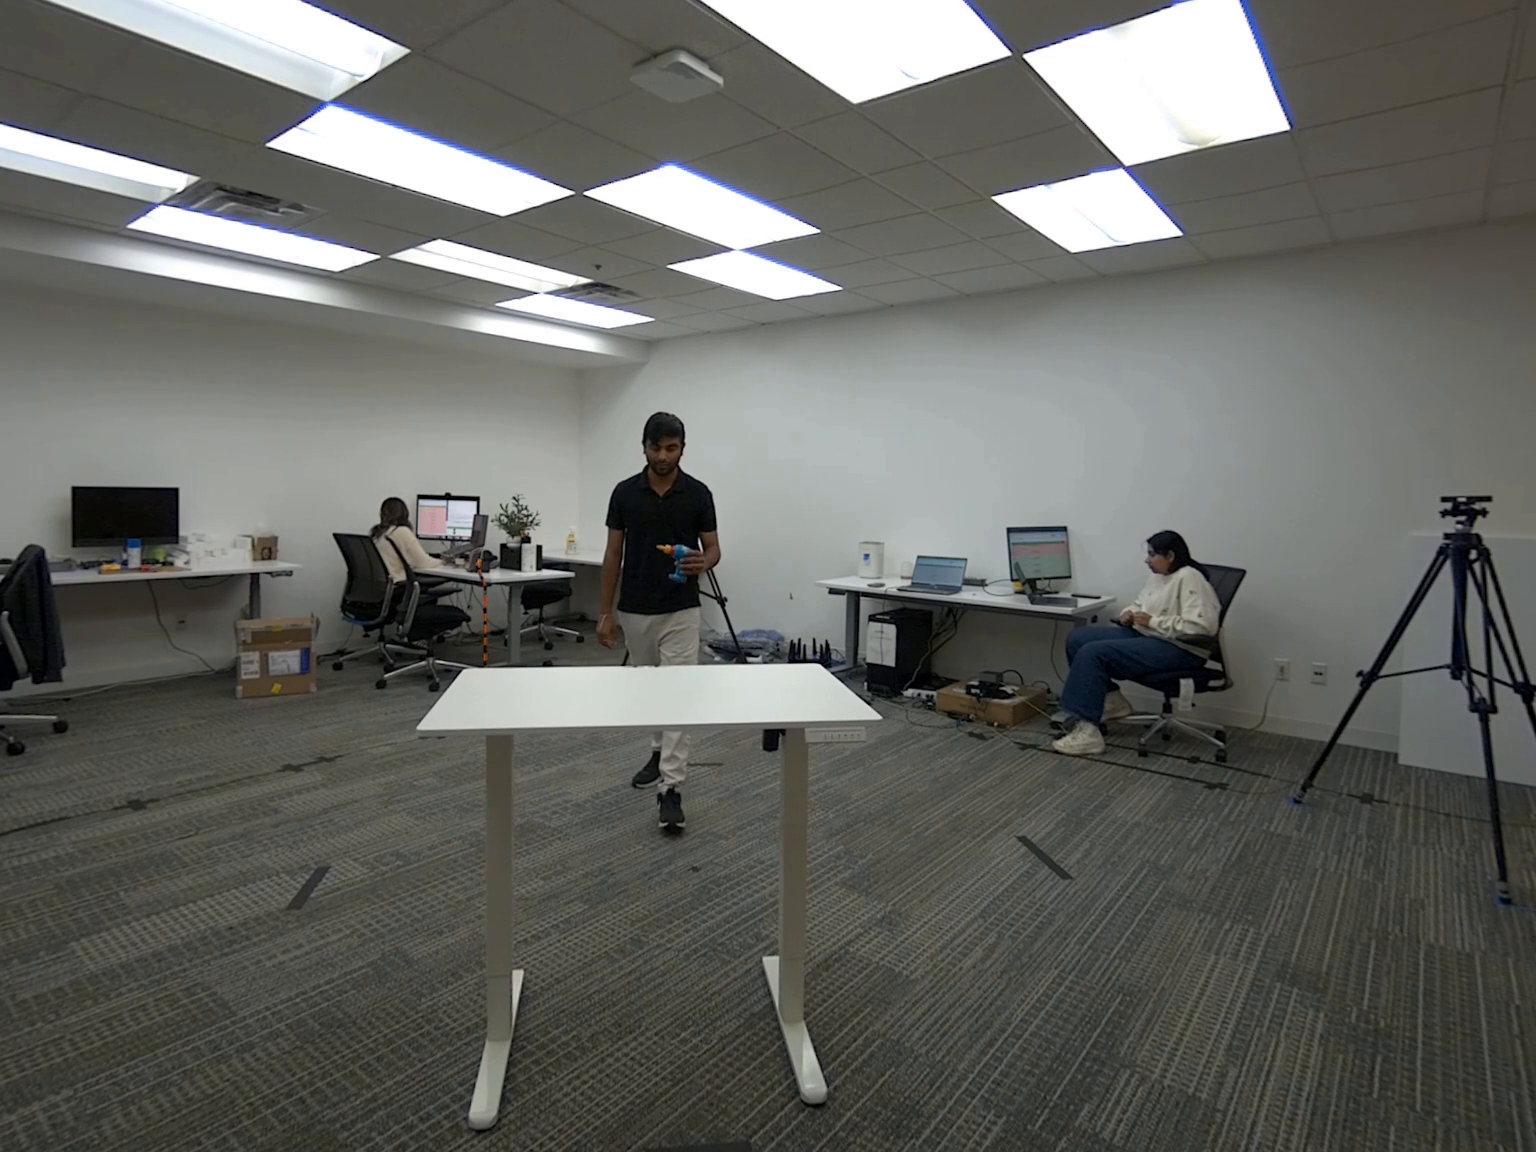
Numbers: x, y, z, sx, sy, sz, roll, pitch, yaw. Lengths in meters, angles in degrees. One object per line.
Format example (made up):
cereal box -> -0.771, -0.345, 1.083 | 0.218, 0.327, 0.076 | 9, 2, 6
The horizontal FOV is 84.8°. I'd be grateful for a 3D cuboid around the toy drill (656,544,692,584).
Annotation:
toy drill -> -0.395, -0.075, 3.460 | 0.165, 0.145, 0.063 | 14, 15, -22
